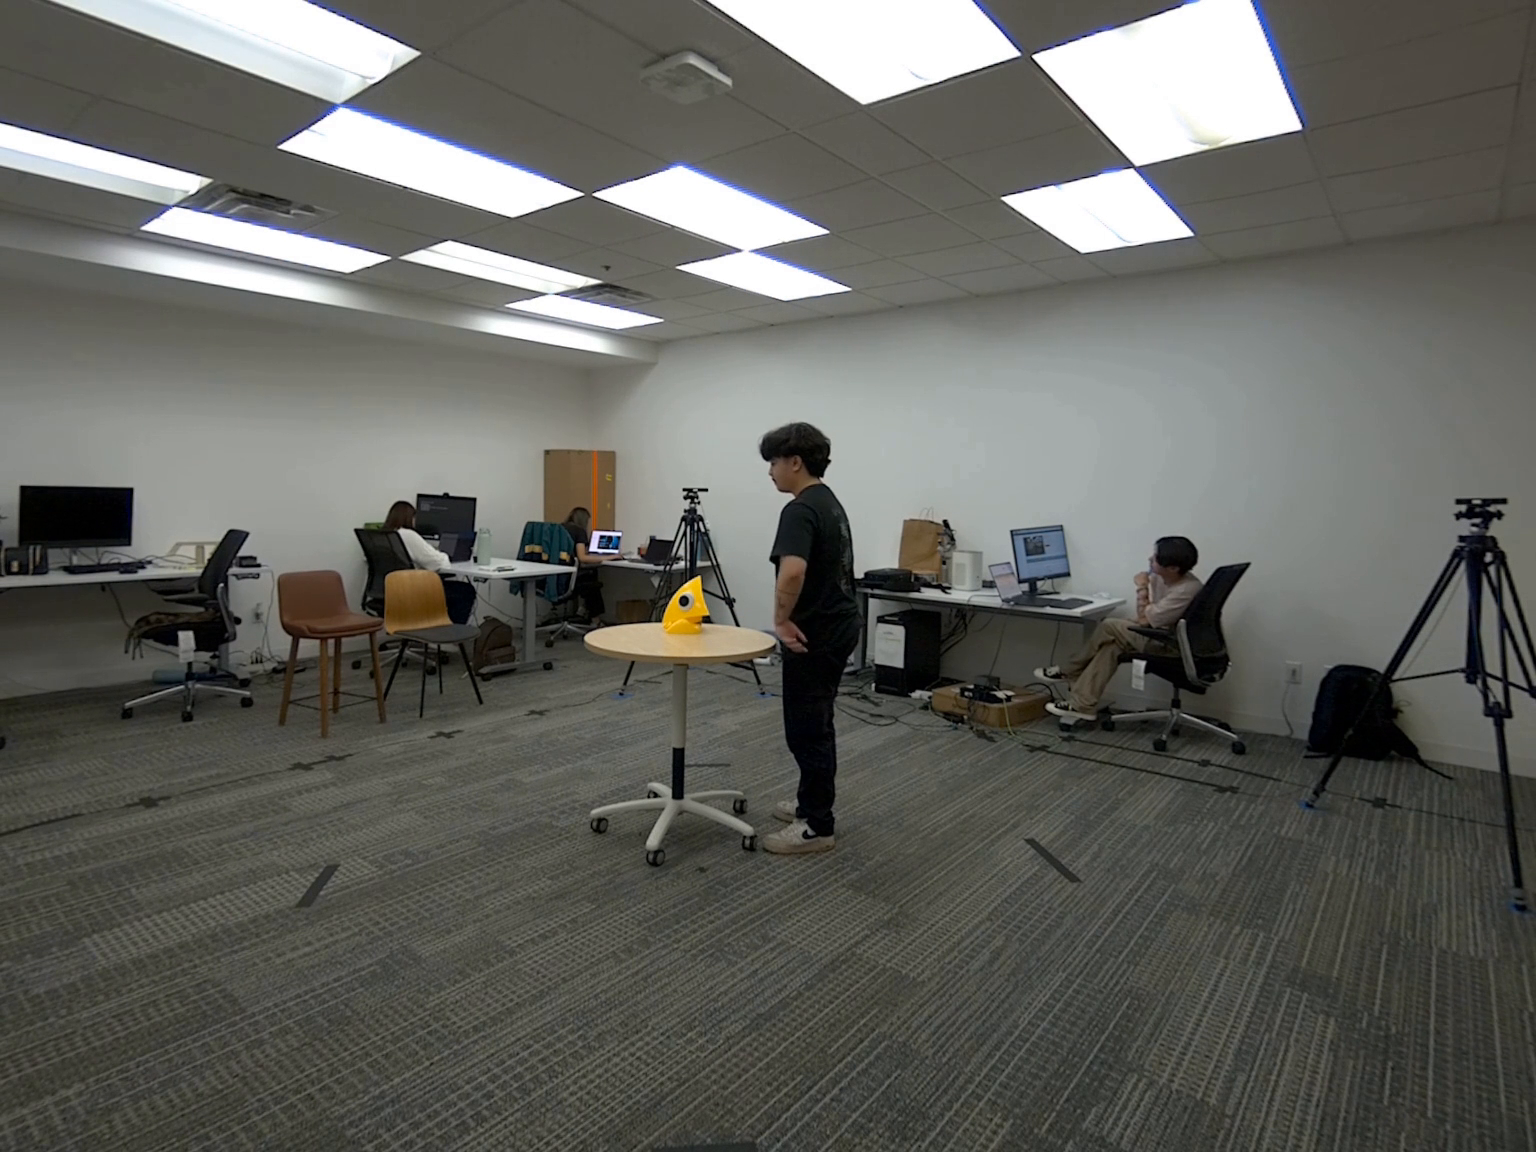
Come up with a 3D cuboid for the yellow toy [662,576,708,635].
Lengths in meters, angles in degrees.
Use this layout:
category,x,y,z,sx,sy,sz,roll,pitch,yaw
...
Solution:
category,x,y,z,sx,sy,sz,roll,pitch,yaw
yellow toy,-0.360,0.109,3.608,0.191,0.230,0.207,0,5,-9
